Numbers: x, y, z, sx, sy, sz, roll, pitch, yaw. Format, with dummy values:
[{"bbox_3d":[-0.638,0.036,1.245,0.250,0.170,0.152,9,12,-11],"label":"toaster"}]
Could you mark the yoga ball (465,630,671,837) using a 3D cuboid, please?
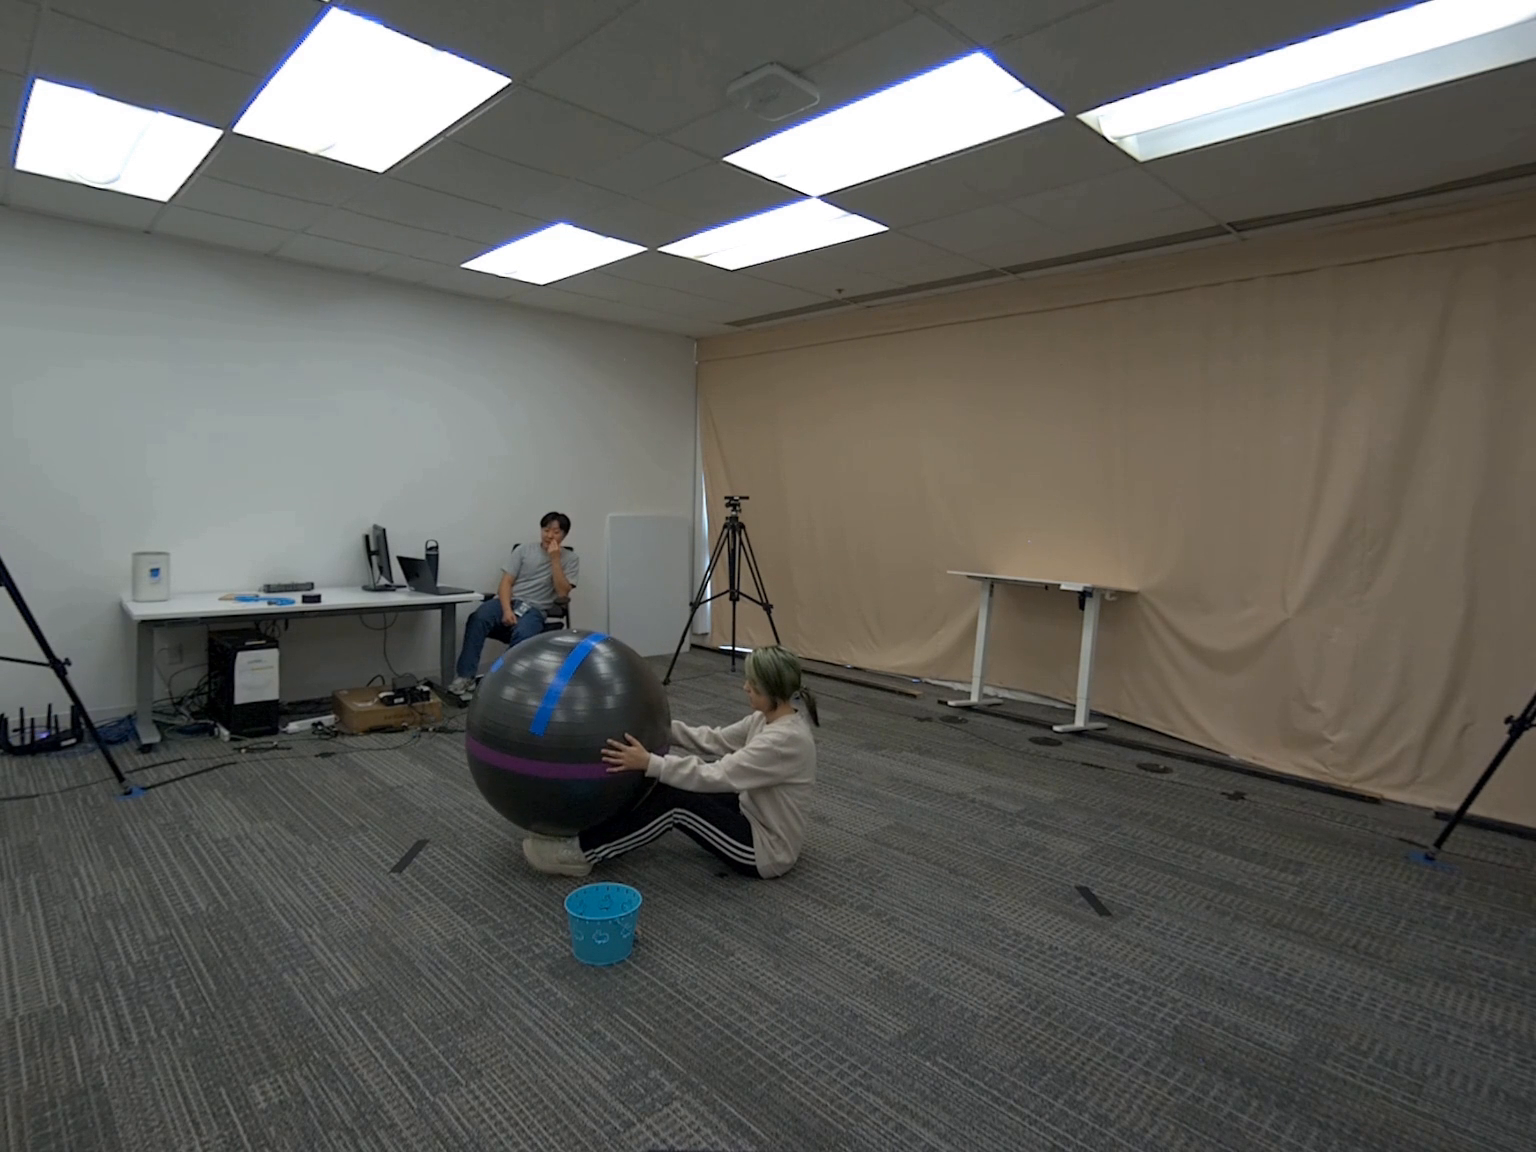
[{"bbox_3d":[-0.769,0.587,3.161,0.757,0.756,0.761,1,4,-1],"label":"yoga ball"}]
